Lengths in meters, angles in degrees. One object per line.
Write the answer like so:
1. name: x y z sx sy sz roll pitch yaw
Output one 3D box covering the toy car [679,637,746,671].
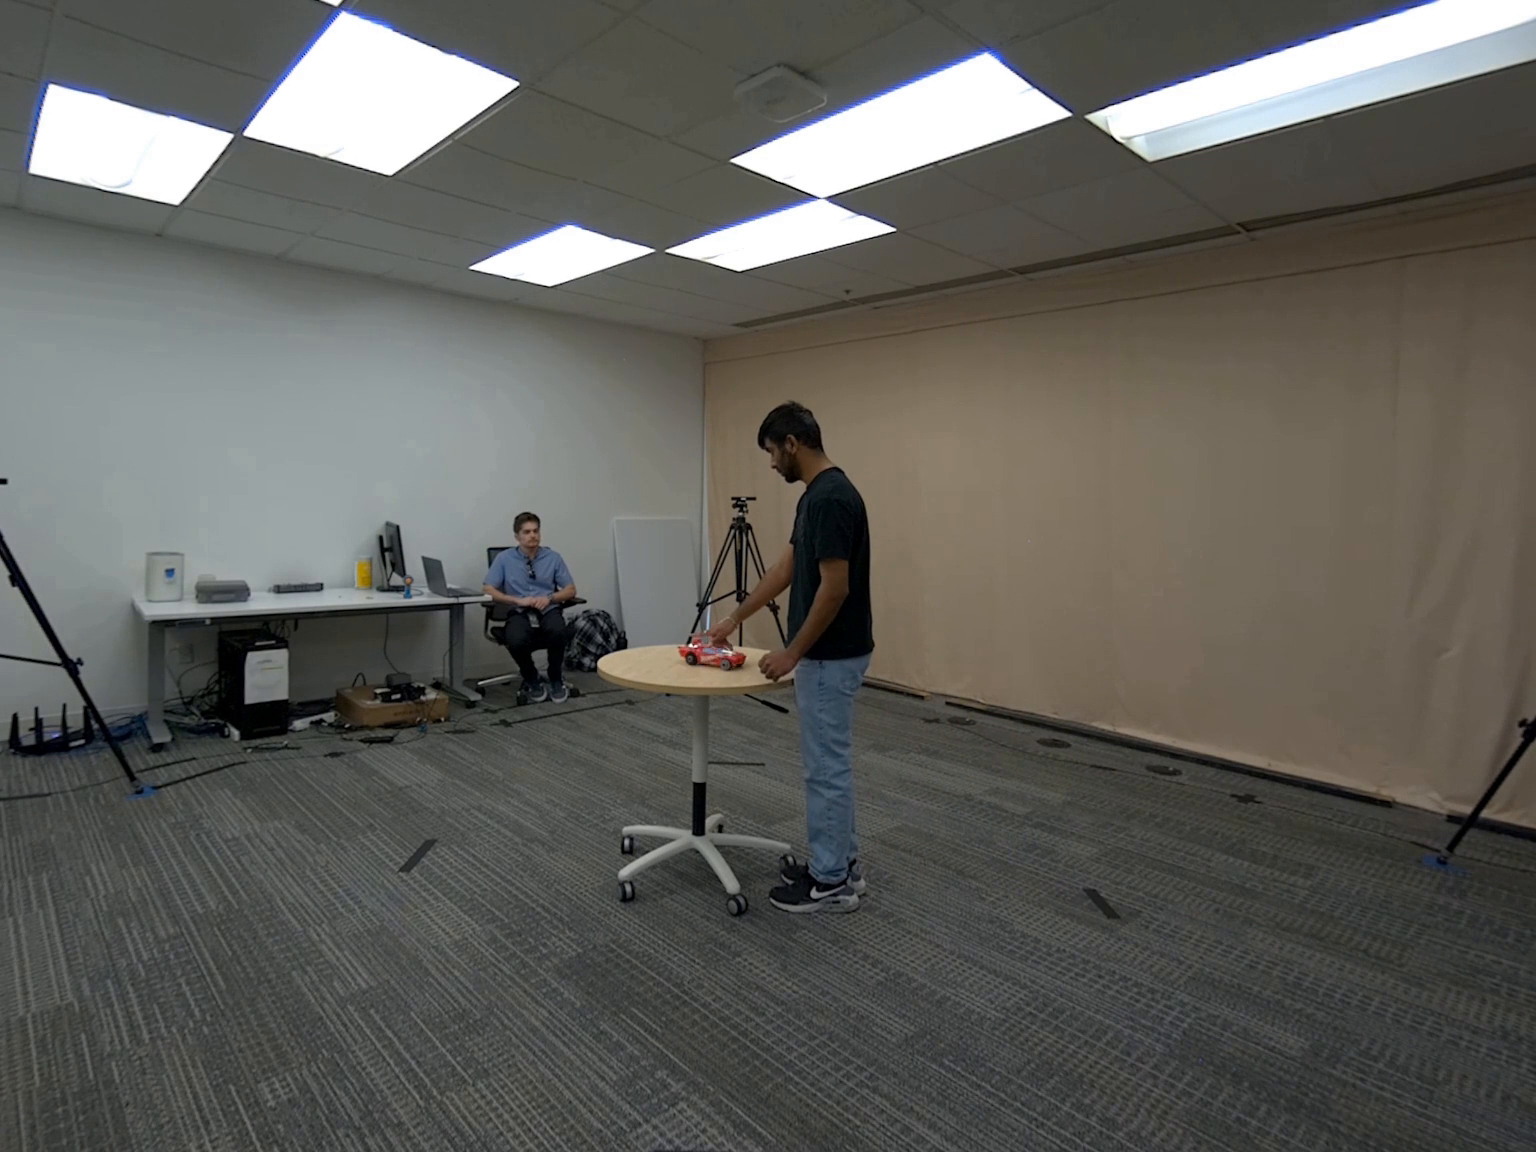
1. toy car: -0.210 0.293 3.075 0.261 0.083 0.128 16 11 27
